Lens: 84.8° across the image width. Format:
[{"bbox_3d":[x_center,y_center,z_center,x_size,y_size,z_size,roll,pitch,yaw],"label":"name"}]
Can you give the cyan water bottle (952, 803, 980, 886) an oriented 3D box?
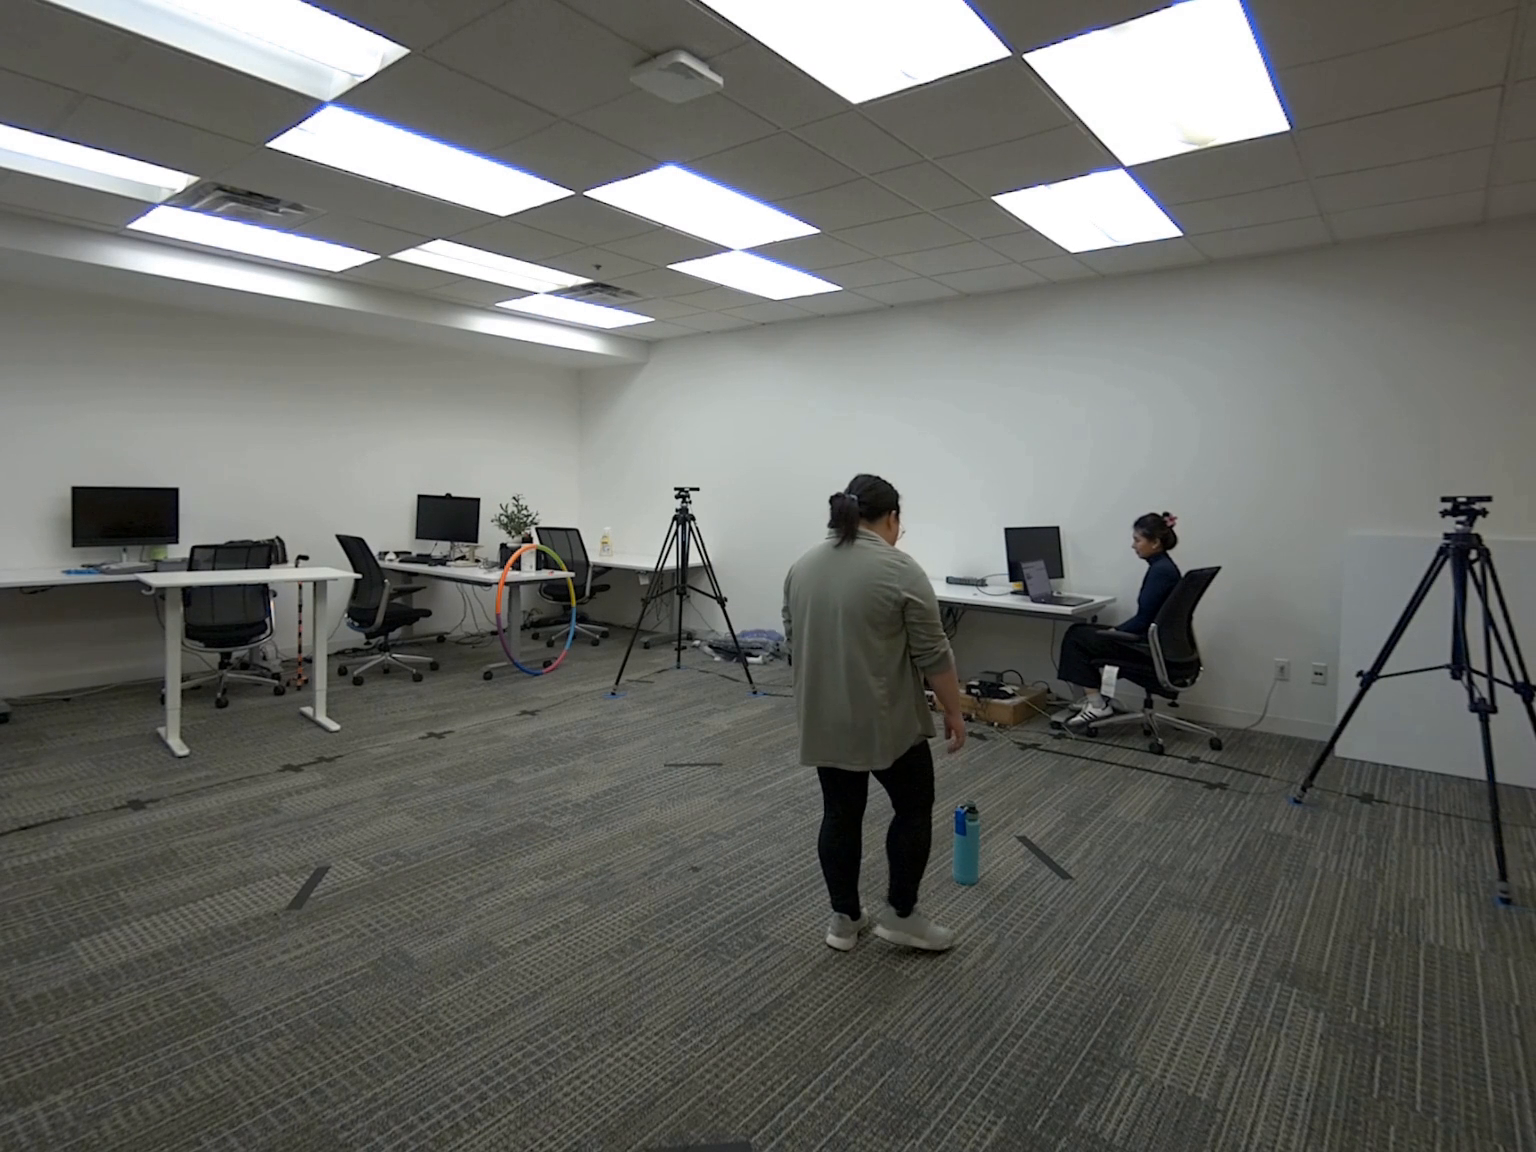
[{"bbox_3d":[0.714,0.951,3.061,0.092,0.282,0.093,1,5,-2],"label":"cyan water bottle"}]
